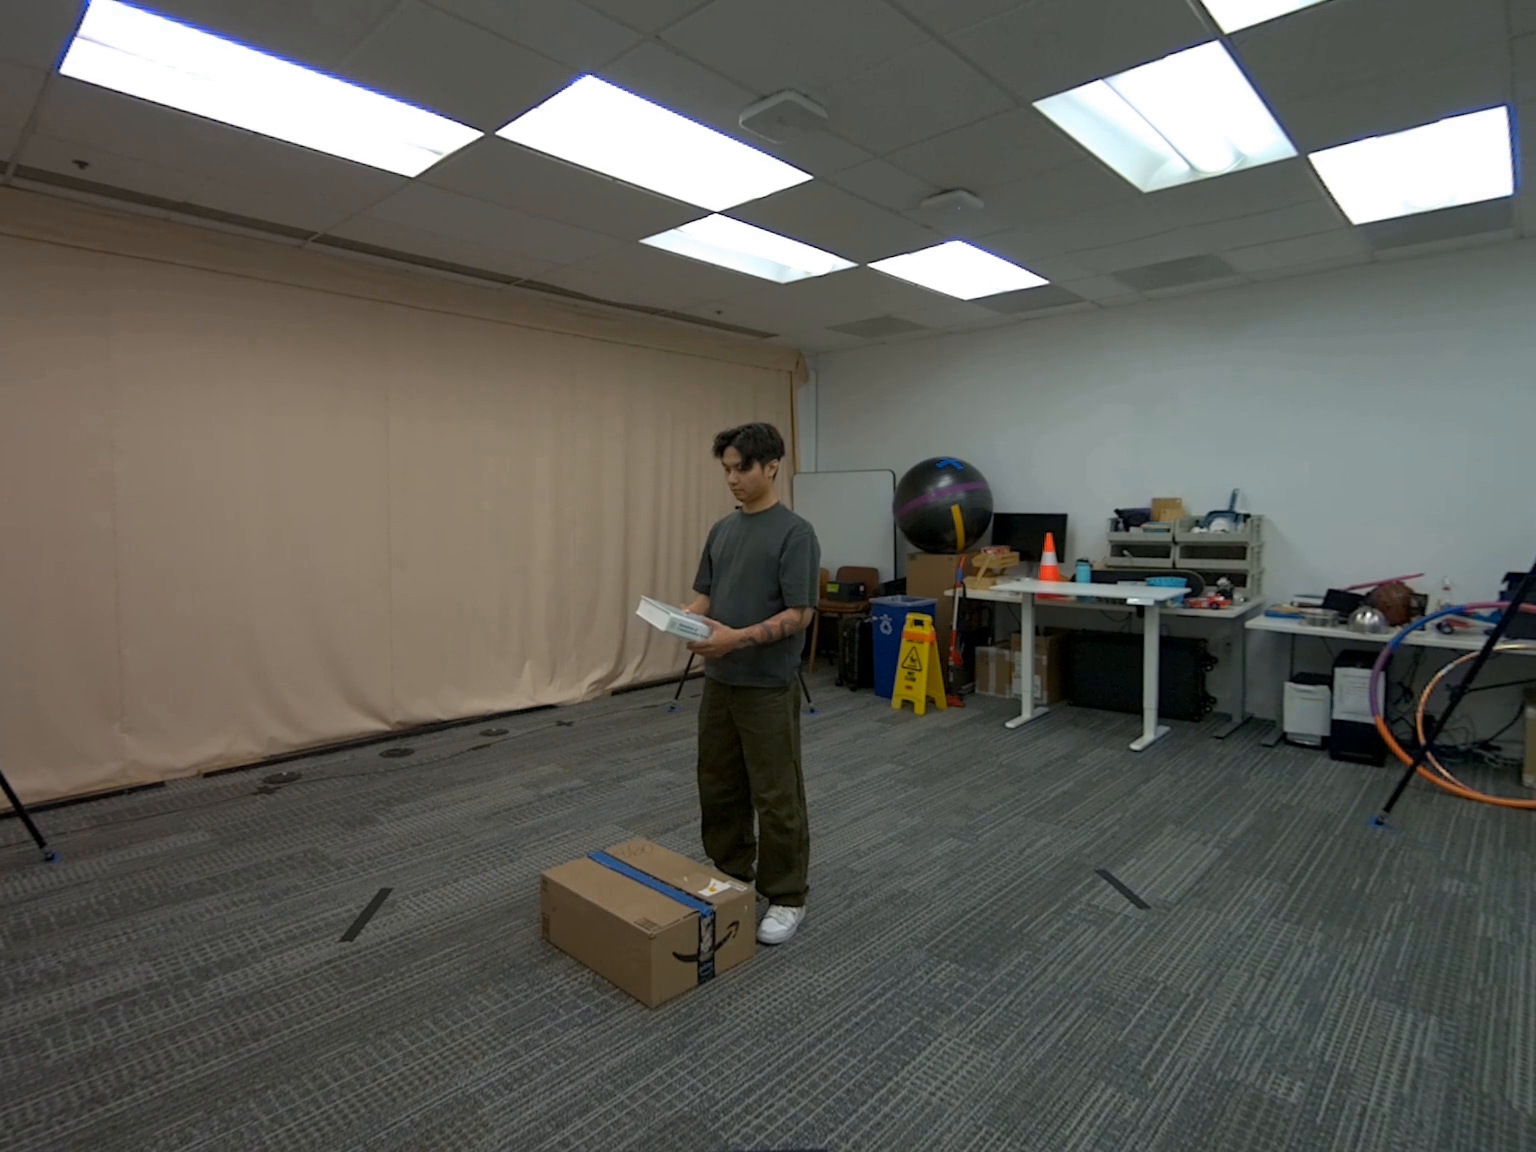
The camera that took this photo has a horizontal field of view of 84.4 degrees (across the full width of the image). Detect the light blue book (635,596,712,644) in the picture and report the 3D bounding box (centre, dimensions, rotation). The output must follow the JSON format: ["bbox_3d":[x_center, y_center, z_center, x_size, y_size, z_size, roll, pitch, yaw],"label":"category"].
[{"bbox_3d":[-0.278,0.149,2.686,0.252,0.059,0.198,21,2,-39],"label":"light blue book"}]
